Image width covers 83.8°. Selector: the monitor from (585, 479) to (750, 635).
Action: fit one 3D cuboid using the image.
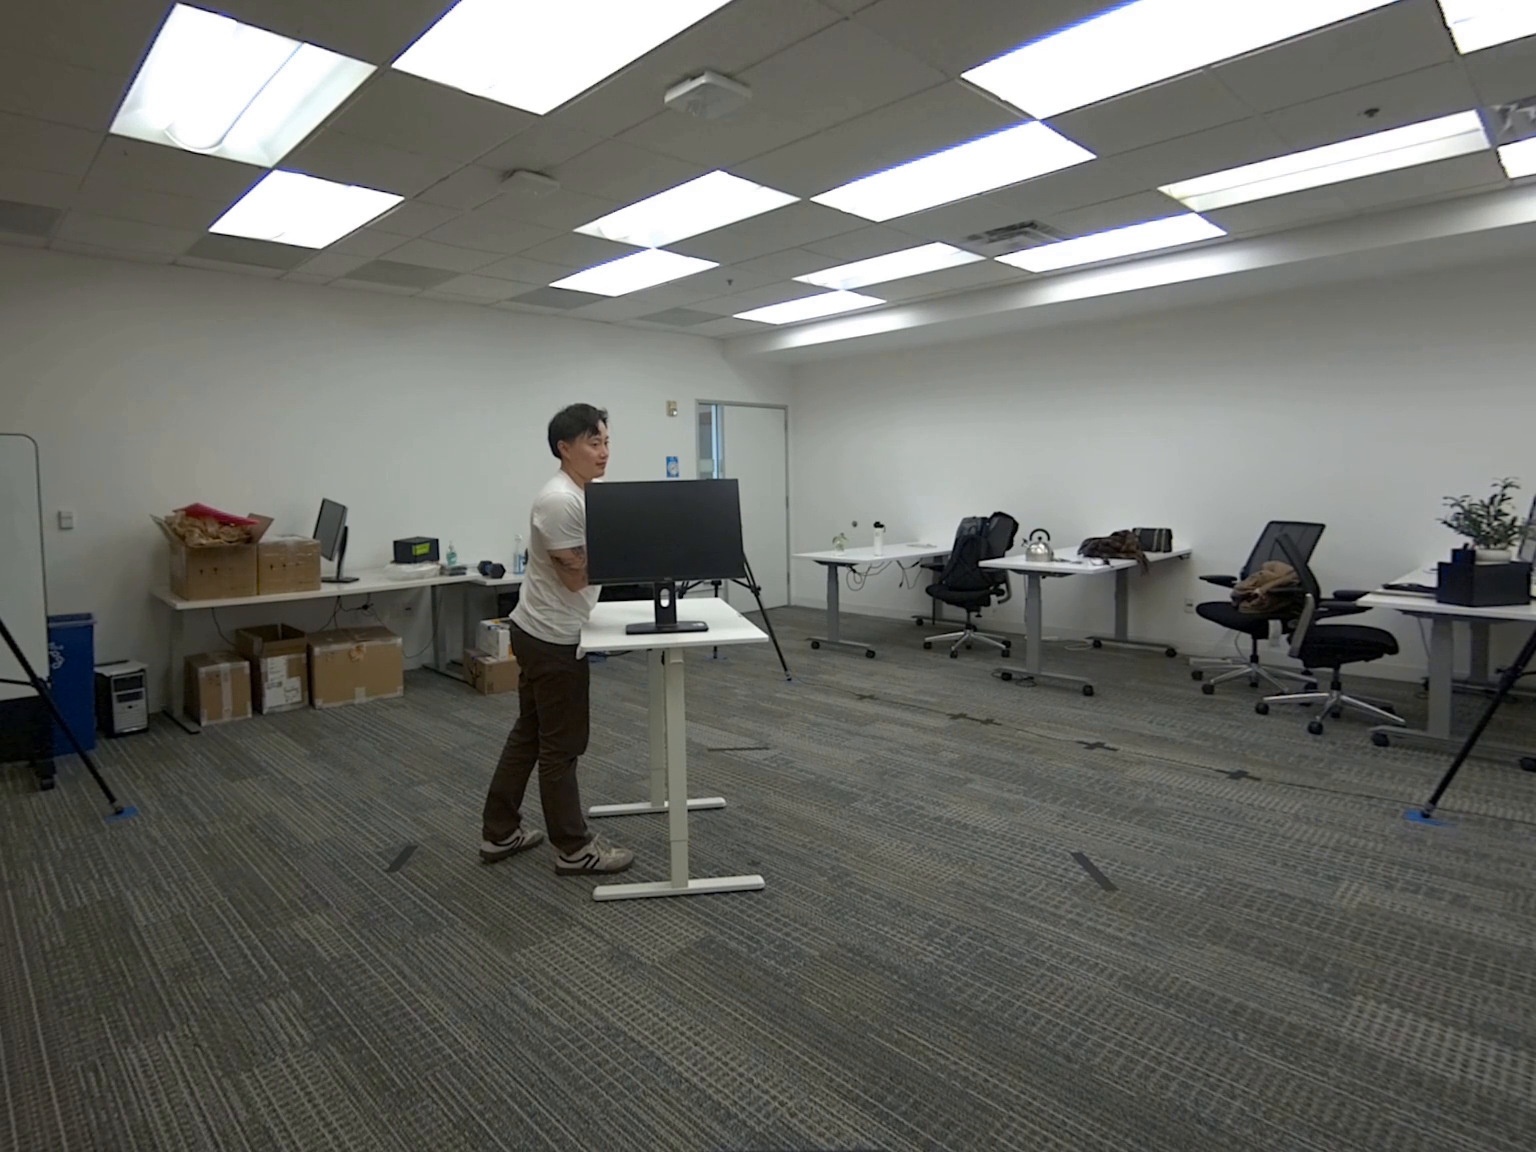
[{"bbox_3d":[-0.358,-0.069,2.948,0.534,0.522,0.189,-2,1,-11],"label":"monitor"}]
